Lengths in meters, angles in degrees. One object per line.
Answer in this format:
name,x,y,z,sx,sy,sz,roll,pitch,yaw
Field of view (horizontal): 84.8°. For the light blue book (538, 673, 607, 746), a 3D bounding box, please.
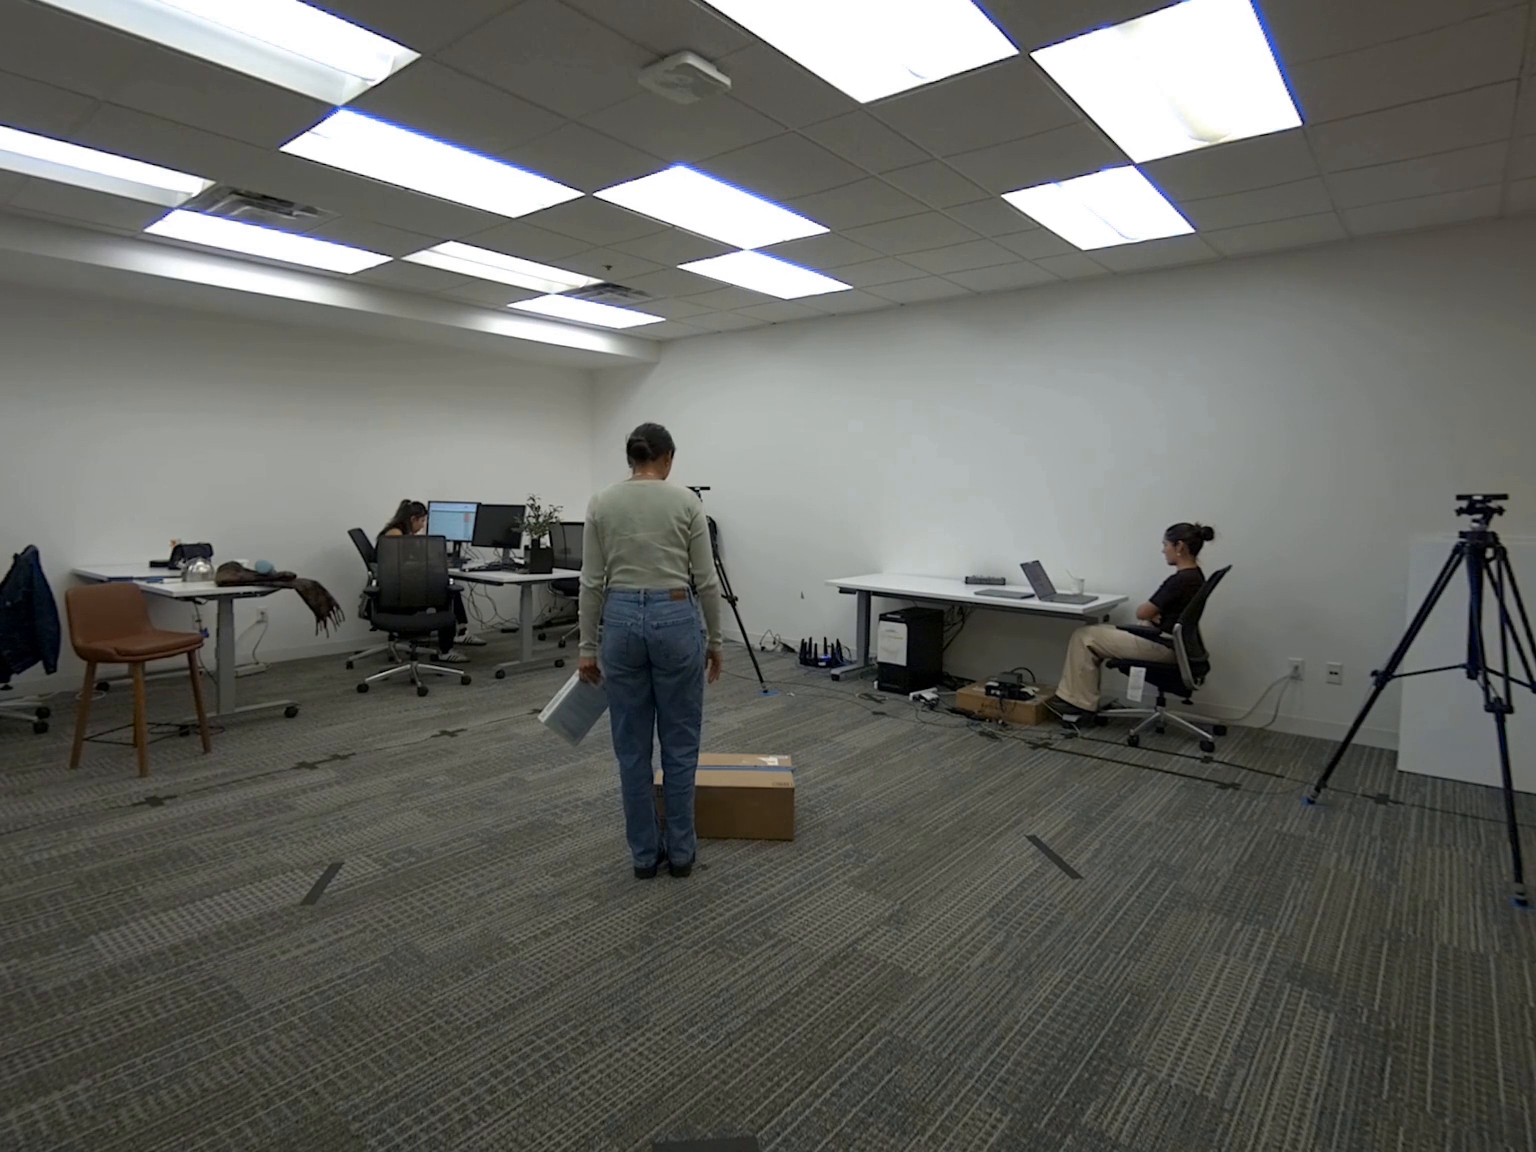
light blue book,-0.703,0.470,3.131,0.061,0.261,0.183,24,-20,47
